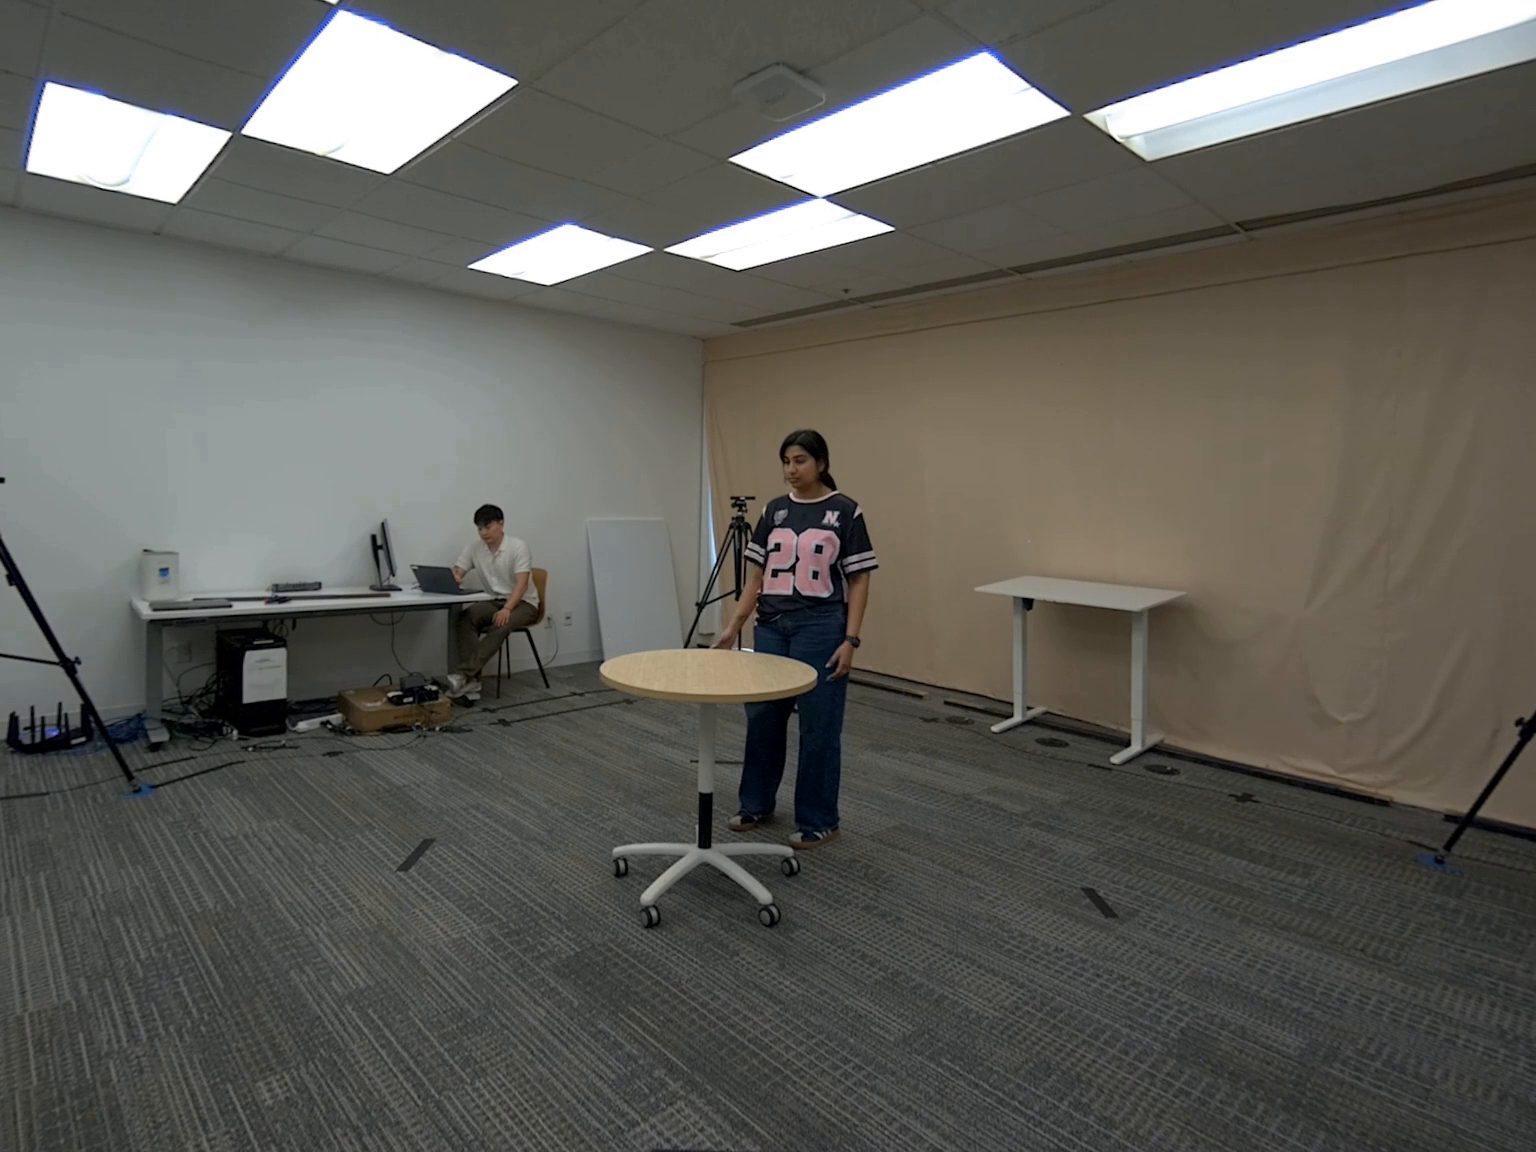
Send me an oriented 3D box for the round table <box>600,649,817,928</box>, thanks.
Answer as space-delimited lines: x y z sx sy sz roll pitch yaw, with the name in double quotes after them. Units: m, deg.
-0.228 0.724 2.997 0.763 0.792 0.767 1 4 -1 "round table"
